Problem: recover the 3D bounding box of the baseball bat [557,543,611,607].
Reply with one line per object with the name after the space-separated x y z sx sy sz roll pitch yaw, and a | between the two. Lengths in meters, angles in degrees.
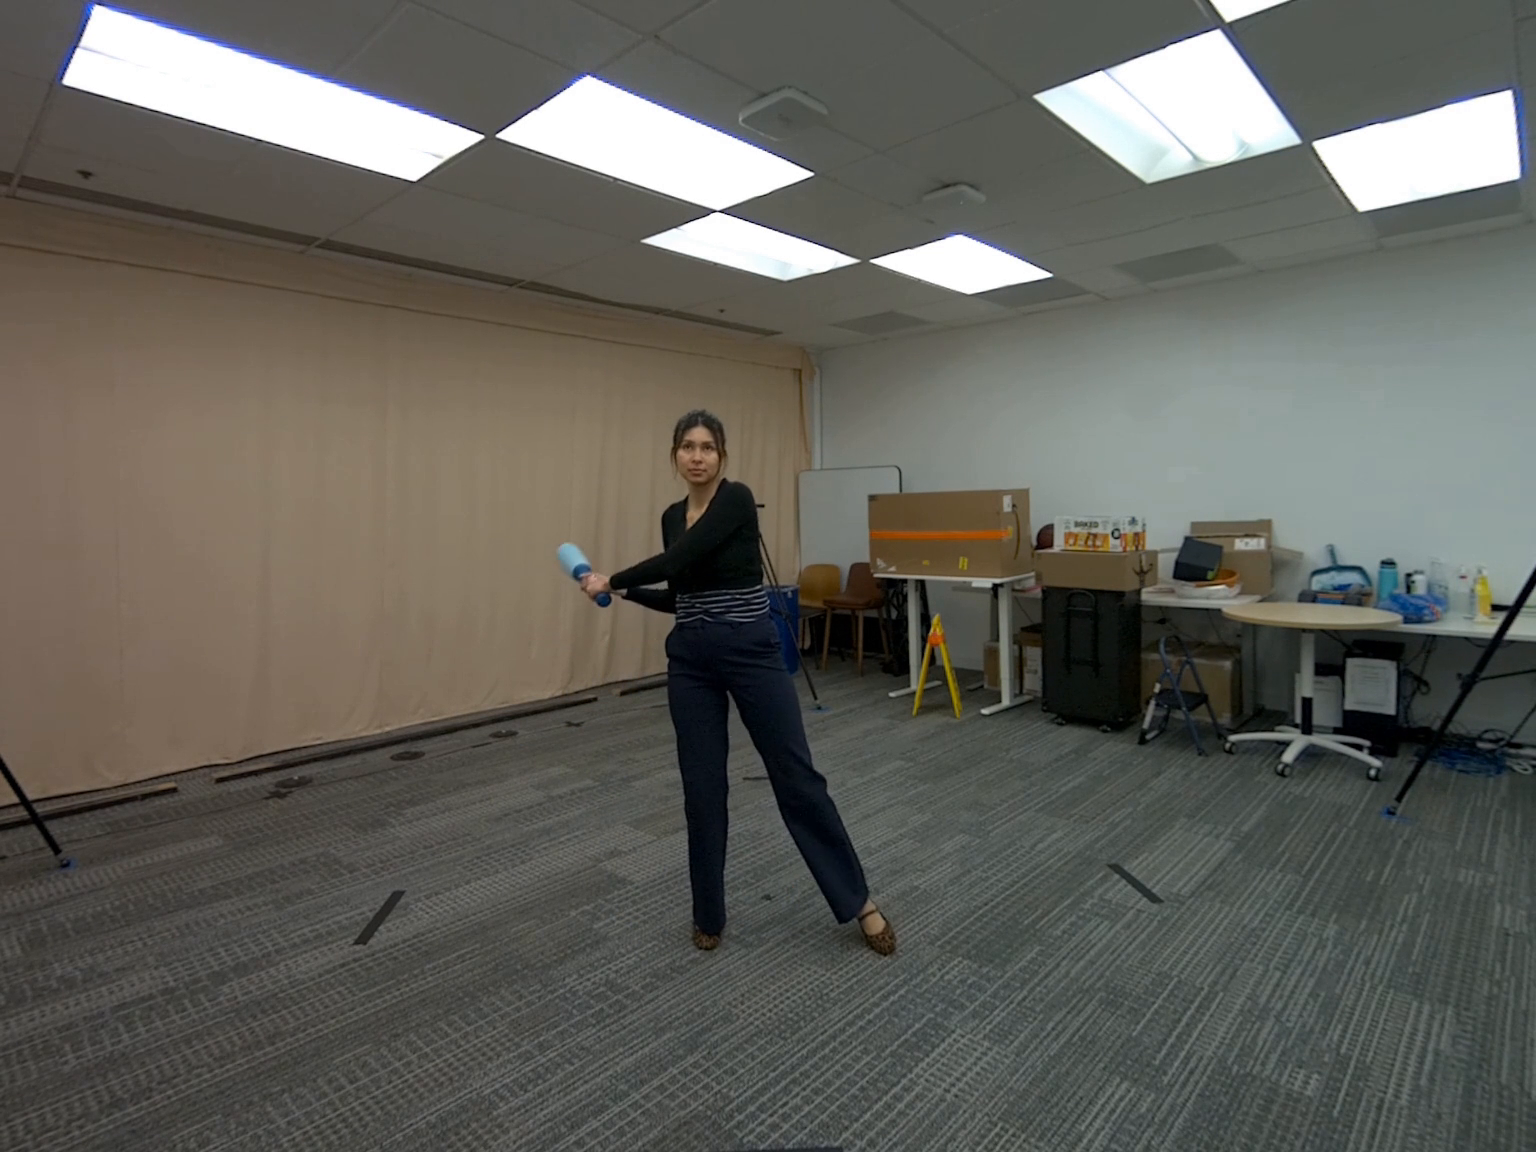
-0.605 0.009 2.881 0.087 0.088 0.560 -3 19 -24 | baseball bat
